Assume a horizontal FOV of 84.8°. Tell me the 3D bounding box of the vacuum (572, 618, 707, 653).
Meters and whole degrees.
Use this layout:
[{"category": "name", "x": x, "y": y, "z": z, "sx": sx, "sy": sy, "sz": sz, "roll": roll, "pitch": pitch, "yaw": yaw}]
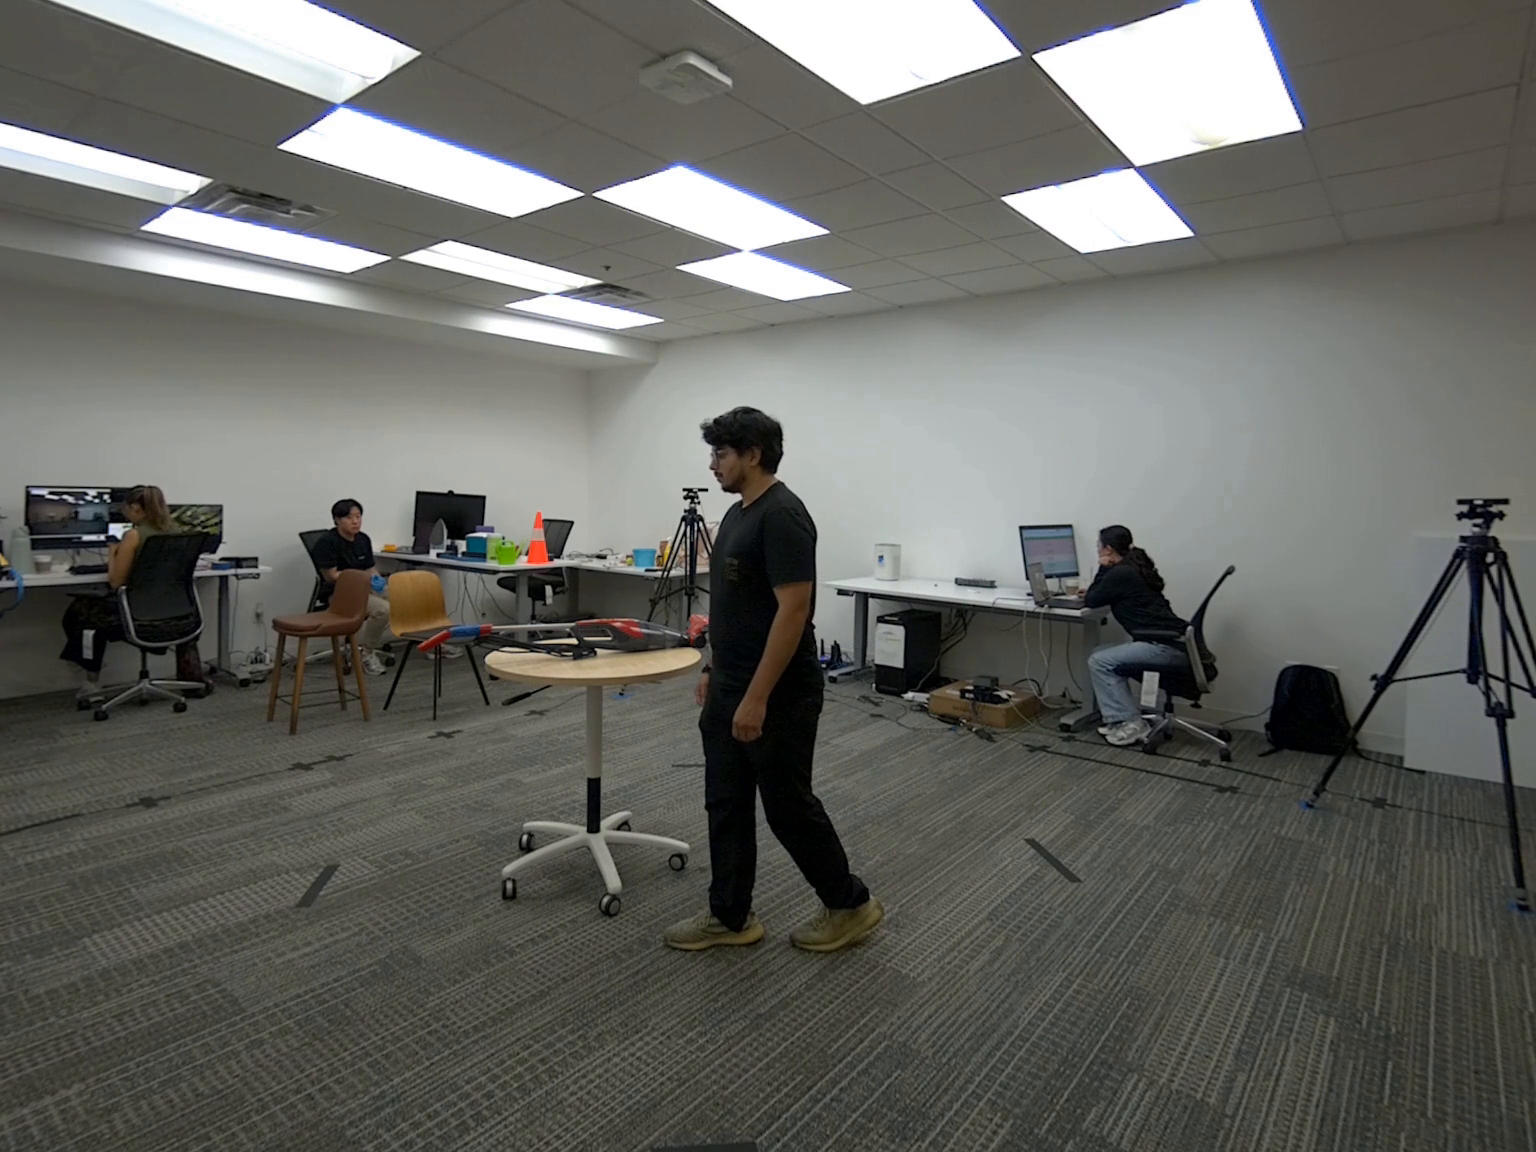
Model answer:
[{"category": "vacuum", "x": -0.710, "y": 0.233, "z": 3.026, "sx": 1.020, "sy": 0.144, "sz": 0.259, "roll": -1, "pitch": -2, "yaw": -32}]
